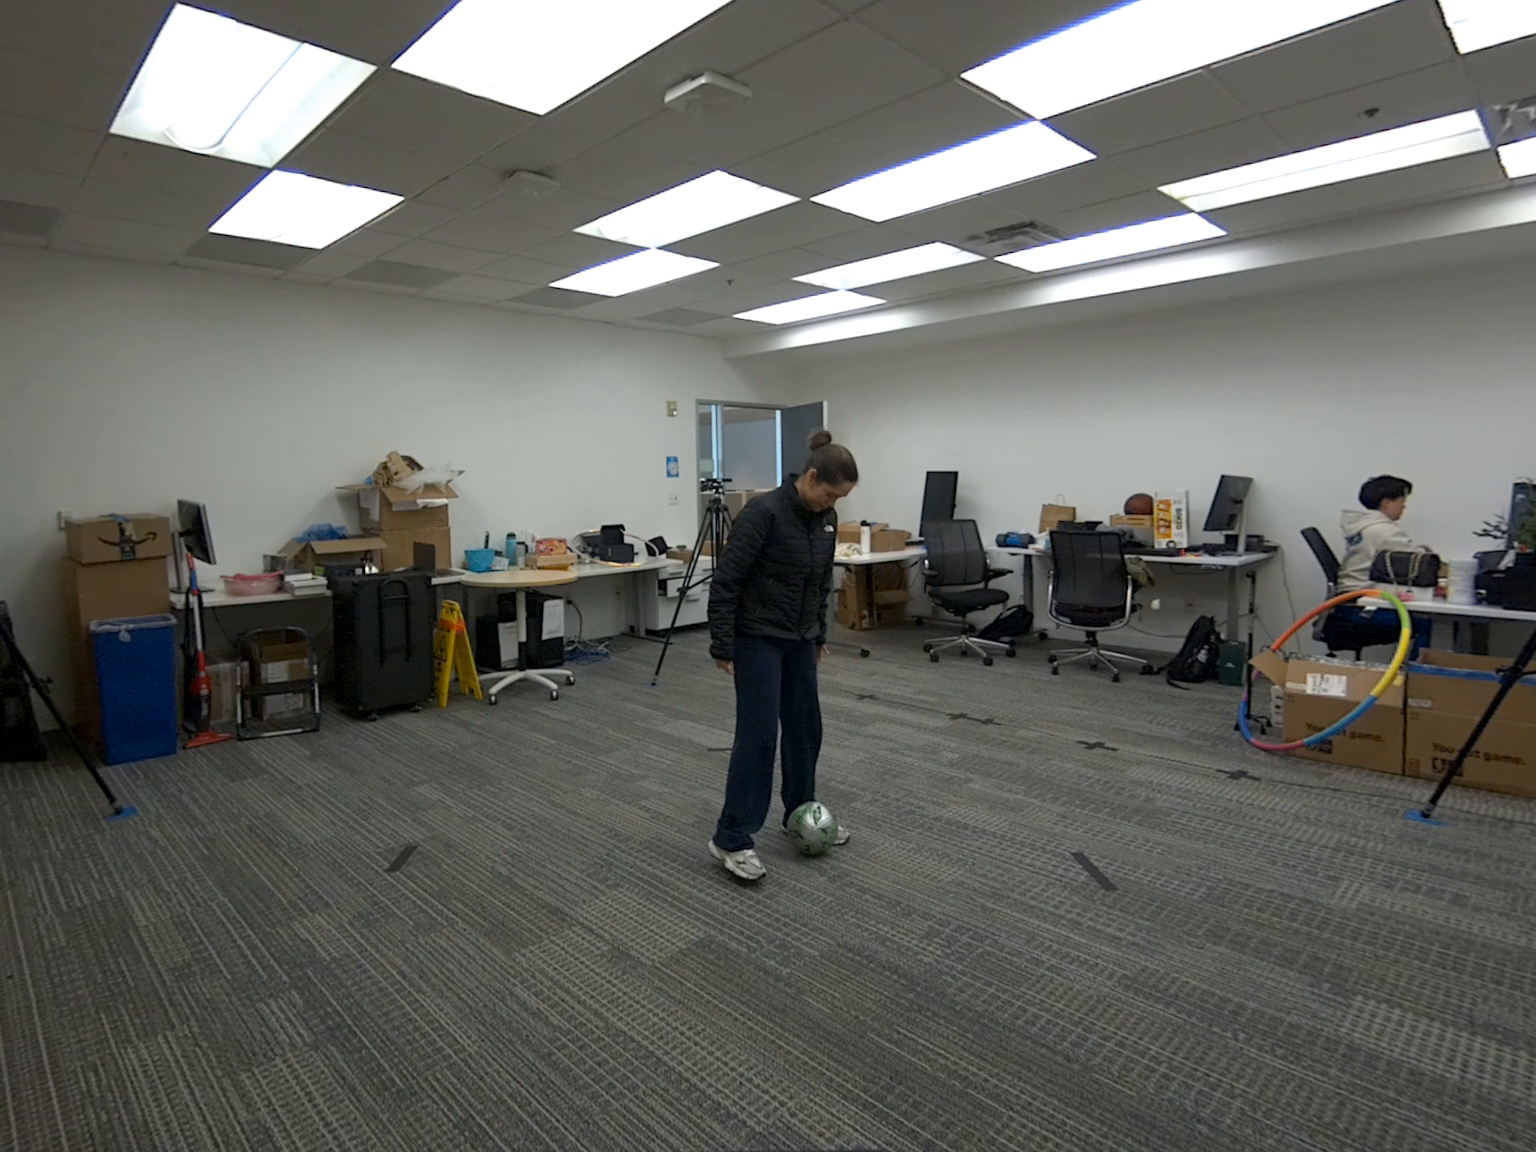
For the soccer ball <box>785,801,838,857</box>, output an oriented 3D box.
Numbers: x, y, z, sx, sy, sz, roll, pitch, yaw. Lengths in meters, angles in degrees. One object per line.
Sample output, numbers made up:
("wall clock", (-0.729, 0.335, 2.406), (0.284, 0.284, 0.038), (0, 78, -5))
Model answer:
("soccer ball", (0.169, 0.939, 3.181), (0.187, 0.187, 0.188), (-1, 5, -2))
